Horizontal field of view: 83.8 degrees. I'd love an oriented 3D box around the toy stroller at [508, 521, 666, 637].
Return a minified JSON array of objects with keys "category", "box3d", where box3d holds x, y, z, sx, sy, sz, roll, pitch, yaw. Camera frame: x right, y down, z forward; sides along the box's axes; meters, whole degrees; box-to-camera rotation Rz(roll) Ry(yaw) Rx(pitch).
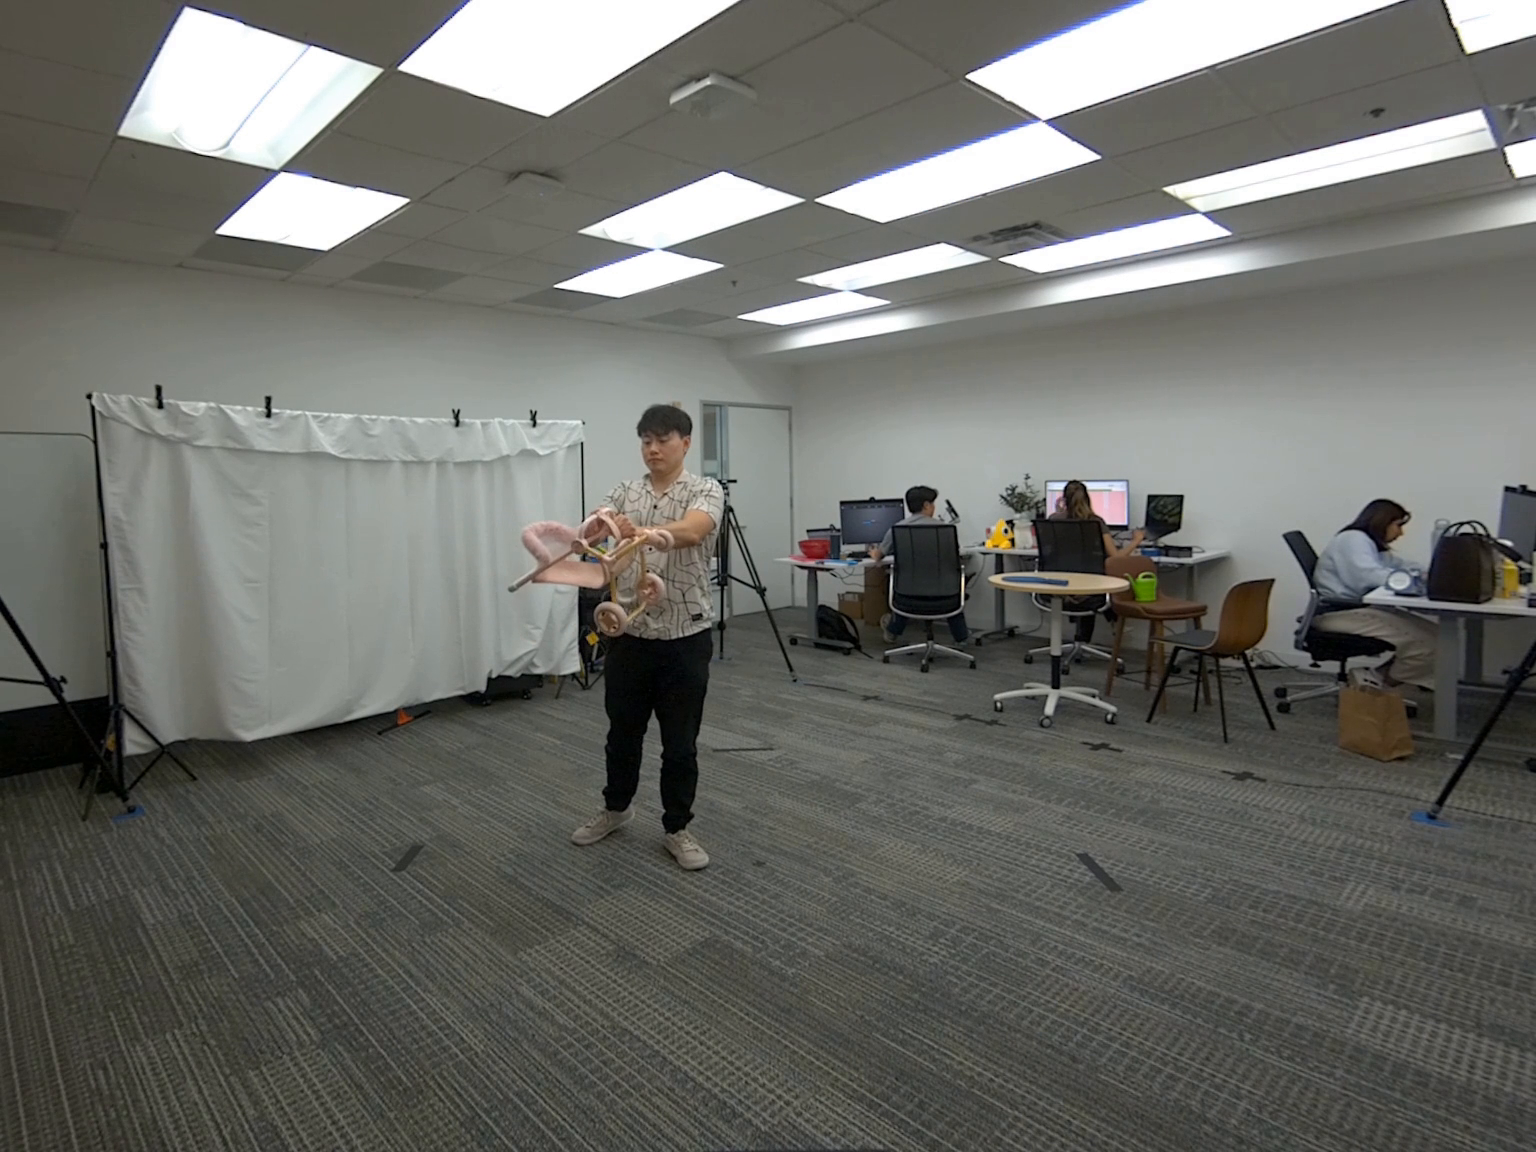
[{"category":"toy stroller","box3d":[-0.544,-0.050,2.642,0.547,0.335,0.280,17,29,19]}]
